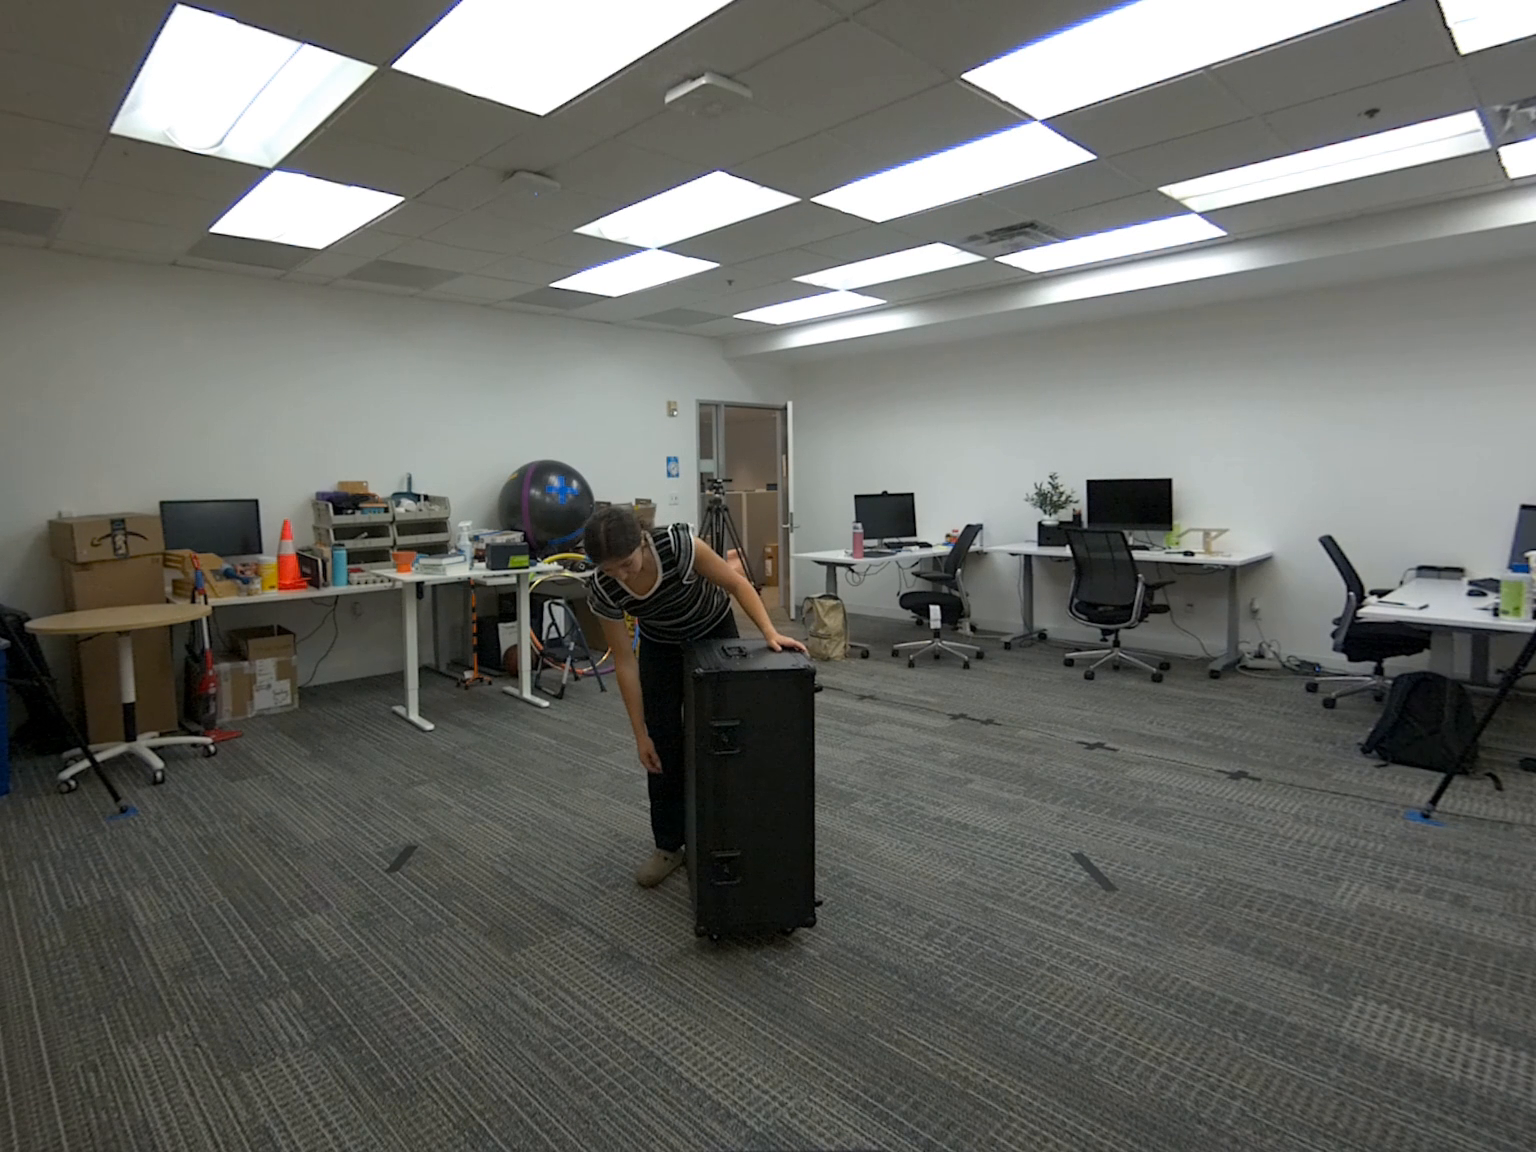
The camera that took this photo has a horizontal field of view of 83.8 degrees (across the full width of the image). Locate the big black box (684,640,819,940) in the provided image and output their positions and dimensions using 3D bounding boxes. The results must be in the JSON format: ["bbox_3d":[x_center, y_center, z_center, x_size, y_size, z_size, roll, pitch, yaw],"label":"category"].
[{"bbox_3d":[-0.060,0.664,2.723,0.394,0.858,0.527,0,4,-8],"label":"big black box"}]
